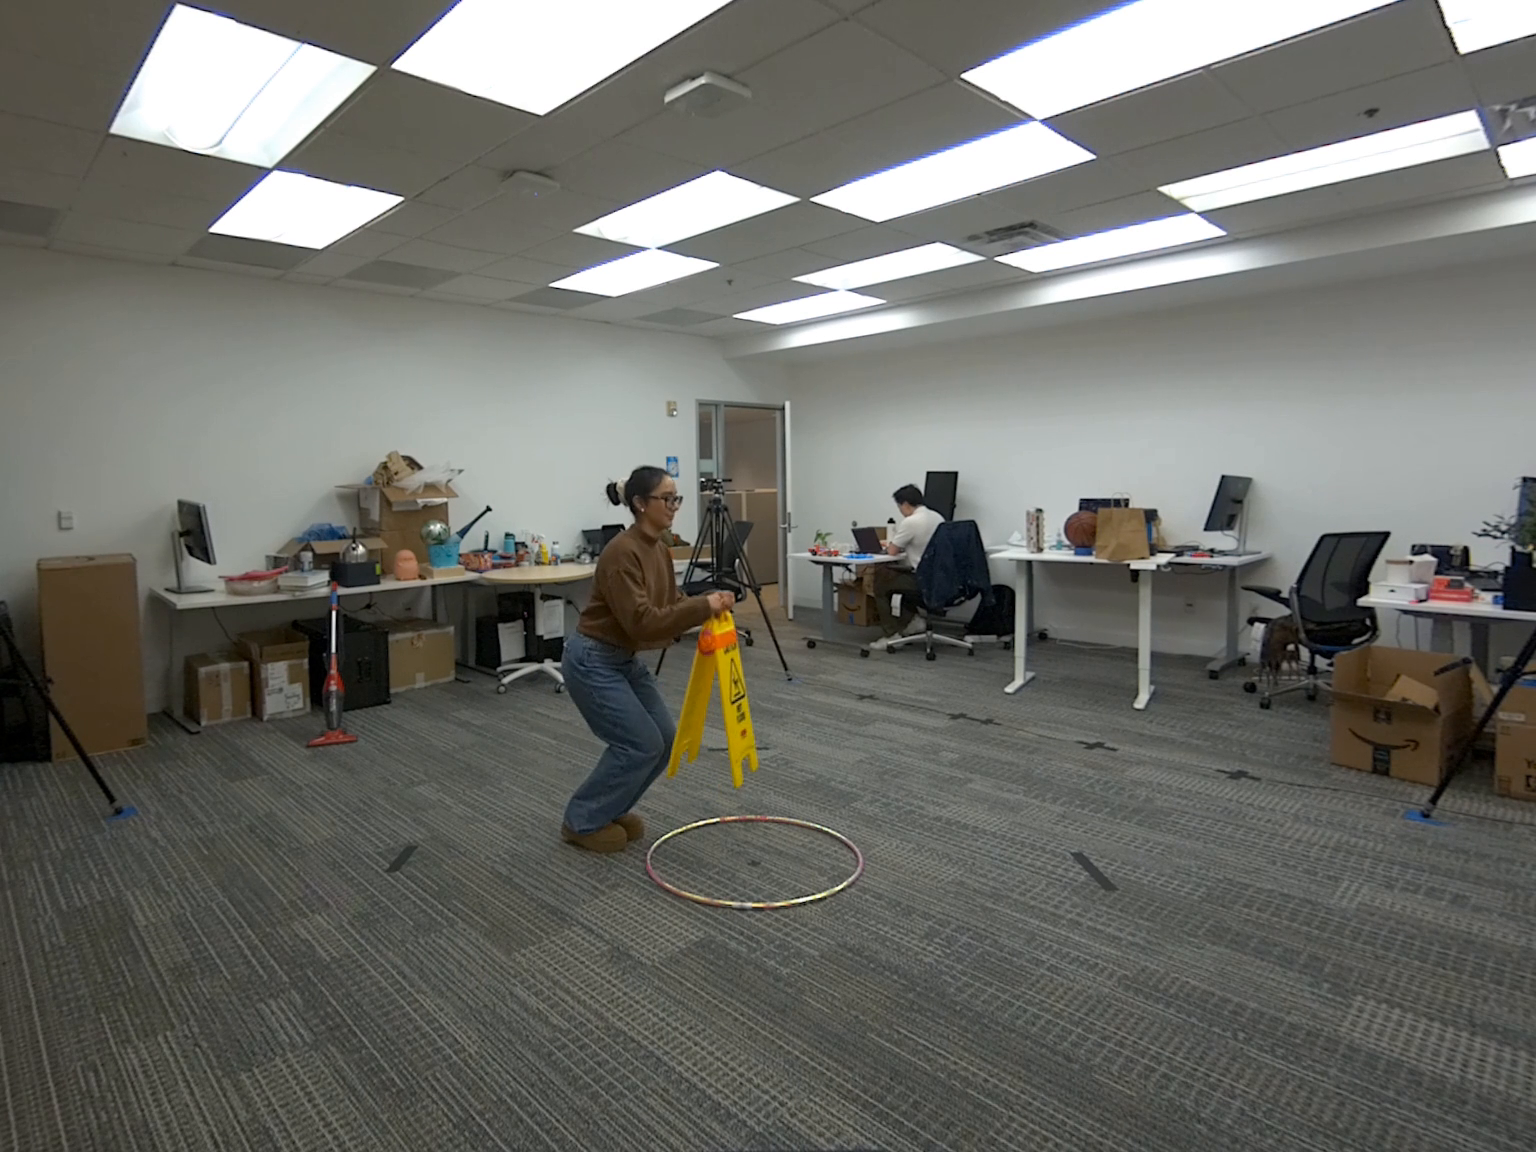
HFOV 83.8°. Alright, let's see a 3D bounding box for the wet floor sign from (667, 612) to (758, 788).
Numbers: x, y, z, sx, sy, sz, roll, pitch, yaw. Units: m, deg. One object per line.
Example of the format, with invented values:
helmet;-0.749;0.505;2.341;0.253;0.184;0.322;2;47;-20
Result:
wet floor sign;-0.191;0.390;3.174;0.295;0.644;0.278;3;4;18
